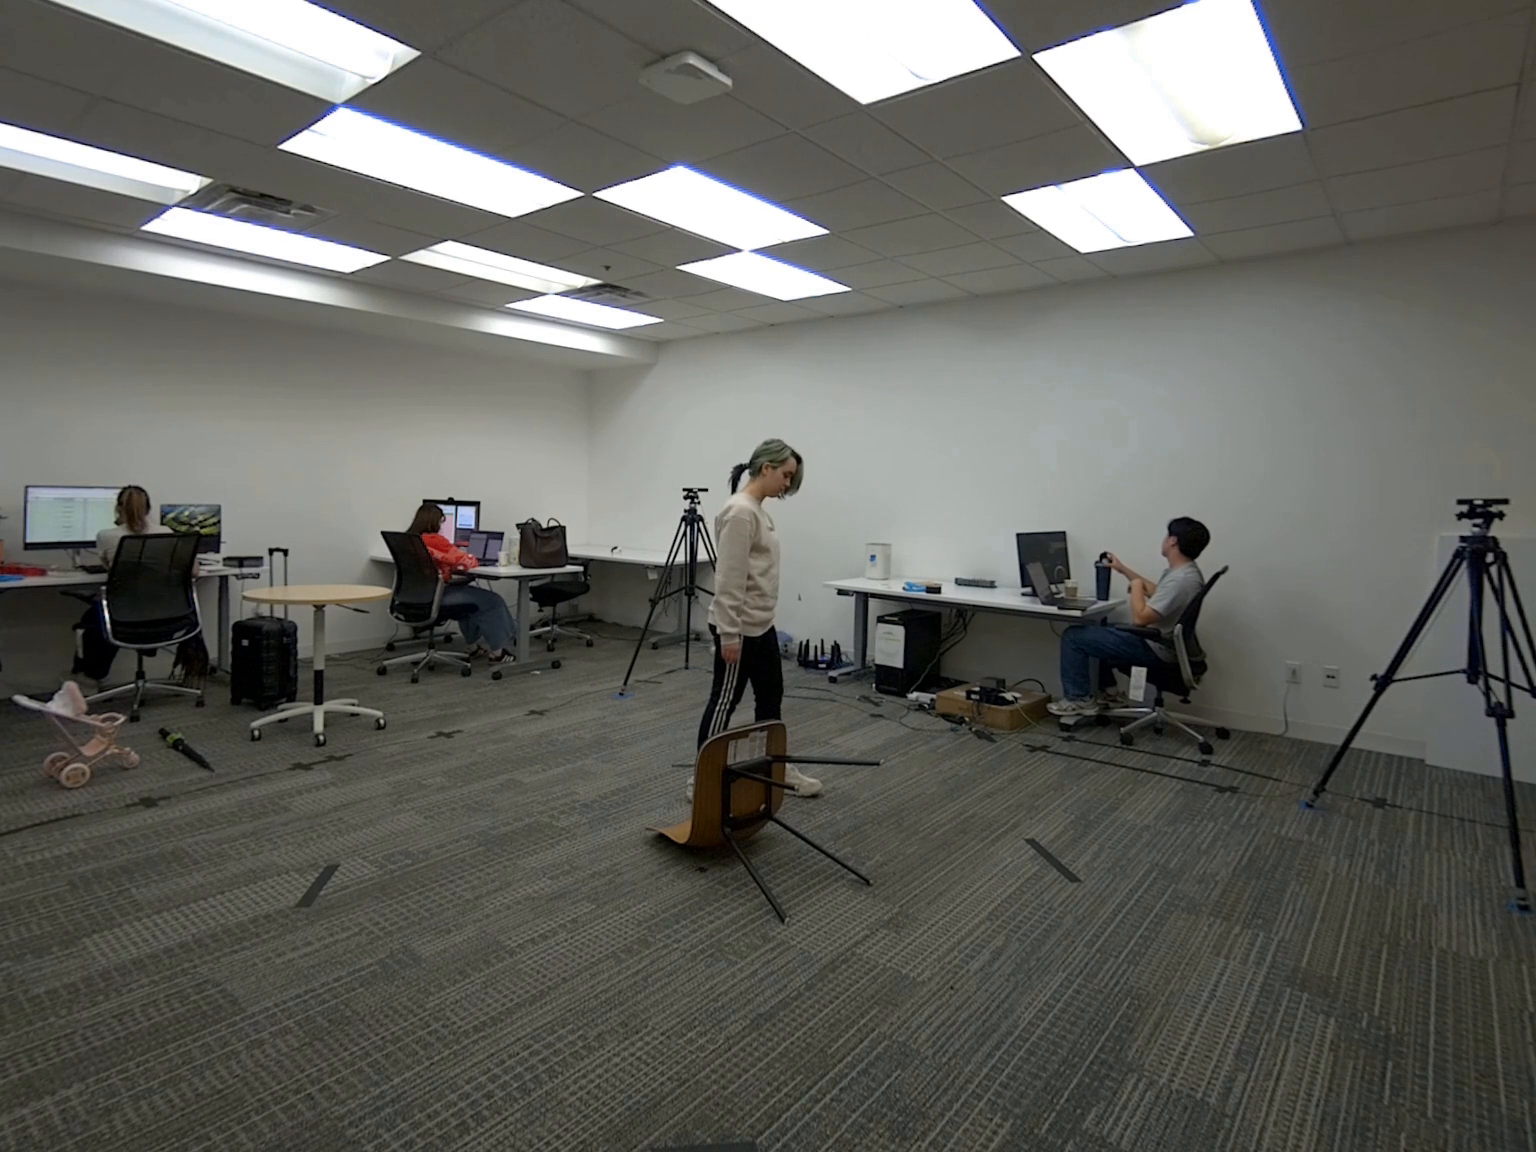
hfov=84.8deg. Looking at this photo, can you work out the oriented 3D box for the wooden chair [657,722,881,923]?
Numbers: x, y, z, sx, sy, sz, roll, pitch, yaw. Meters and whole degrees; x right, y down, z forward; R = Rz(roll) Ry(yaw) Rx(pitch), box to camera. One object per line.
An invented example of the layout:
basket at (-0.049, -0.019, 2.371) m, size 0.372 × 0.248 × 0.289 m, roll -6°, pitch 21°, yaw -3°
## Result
wooden chair at (-0.078, 0.809, 3.163) m, size 0.463 × 0.522 × 0.907 m, roll -3°, pitch 5°, yaw -43°
